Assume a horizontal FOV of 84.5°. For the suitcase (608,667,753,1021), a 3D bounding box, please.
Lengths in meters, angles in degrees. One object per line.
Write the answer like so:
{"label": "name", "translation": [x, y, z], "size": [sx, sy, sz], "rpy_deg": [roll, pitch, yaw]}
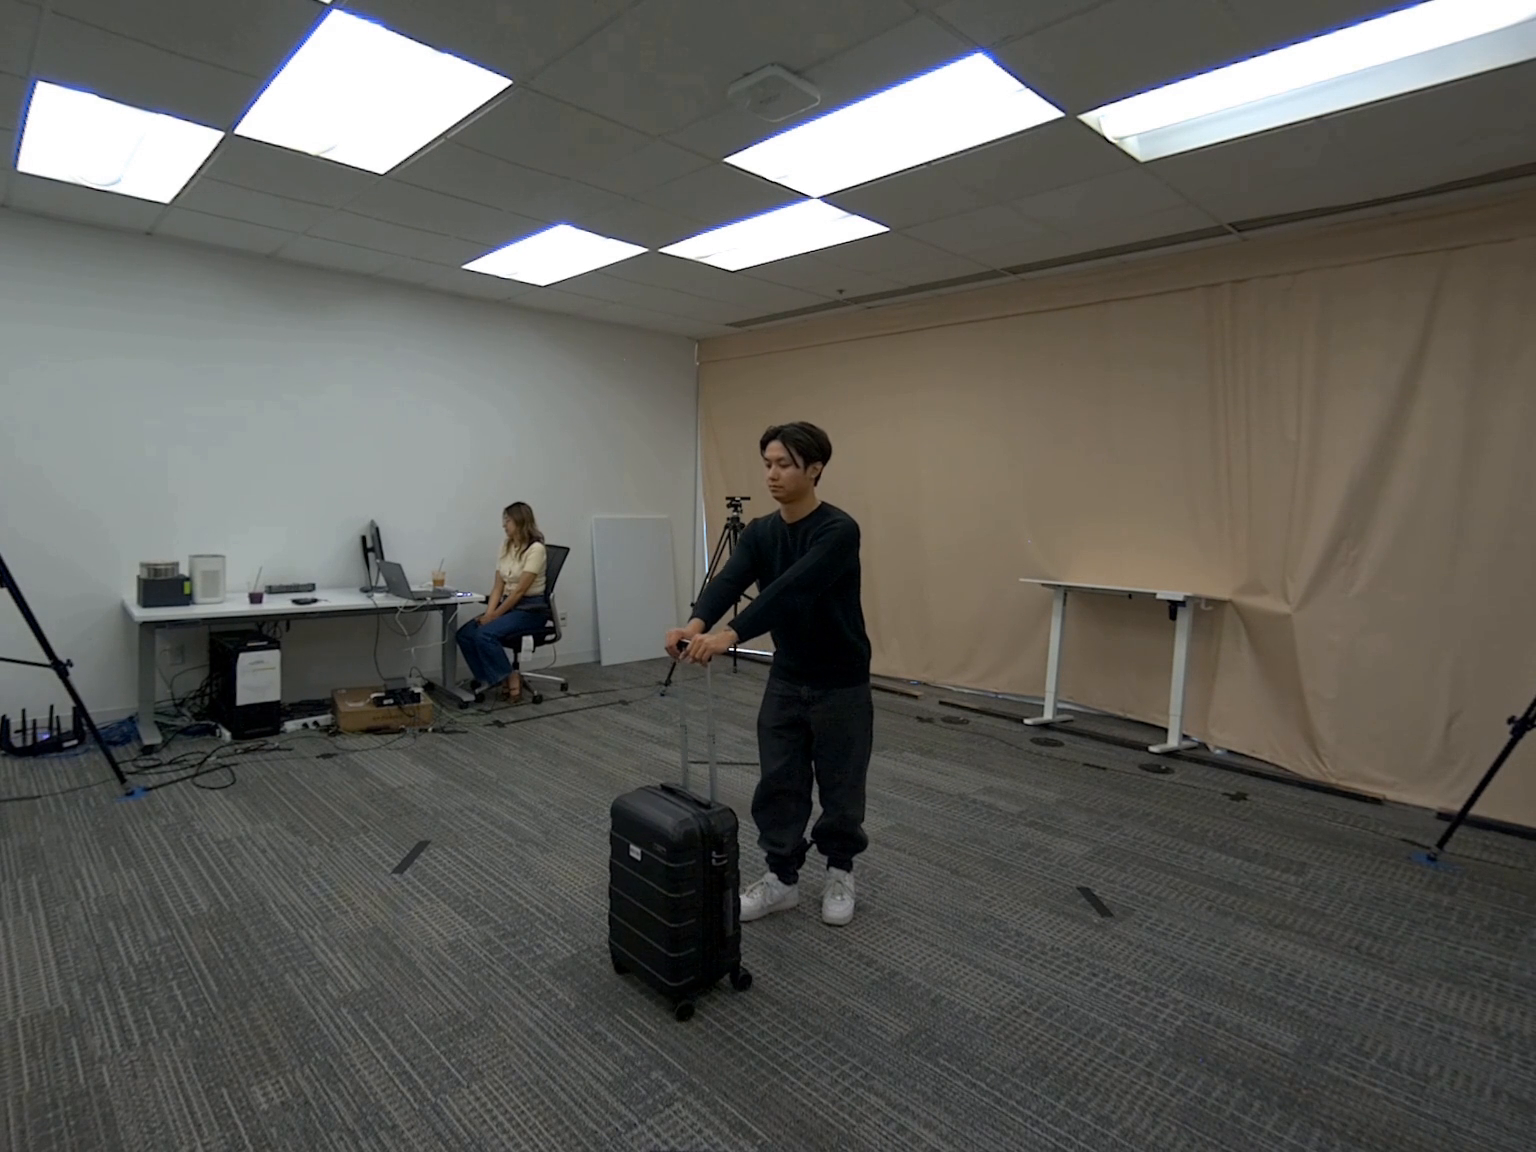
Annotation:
{"label": "suitcase", "translation": [-0.282, 0.699, 2.377], "size": [0.252, 0.974, 0.394], "rpy_deg": [-7, 8, -44]}
